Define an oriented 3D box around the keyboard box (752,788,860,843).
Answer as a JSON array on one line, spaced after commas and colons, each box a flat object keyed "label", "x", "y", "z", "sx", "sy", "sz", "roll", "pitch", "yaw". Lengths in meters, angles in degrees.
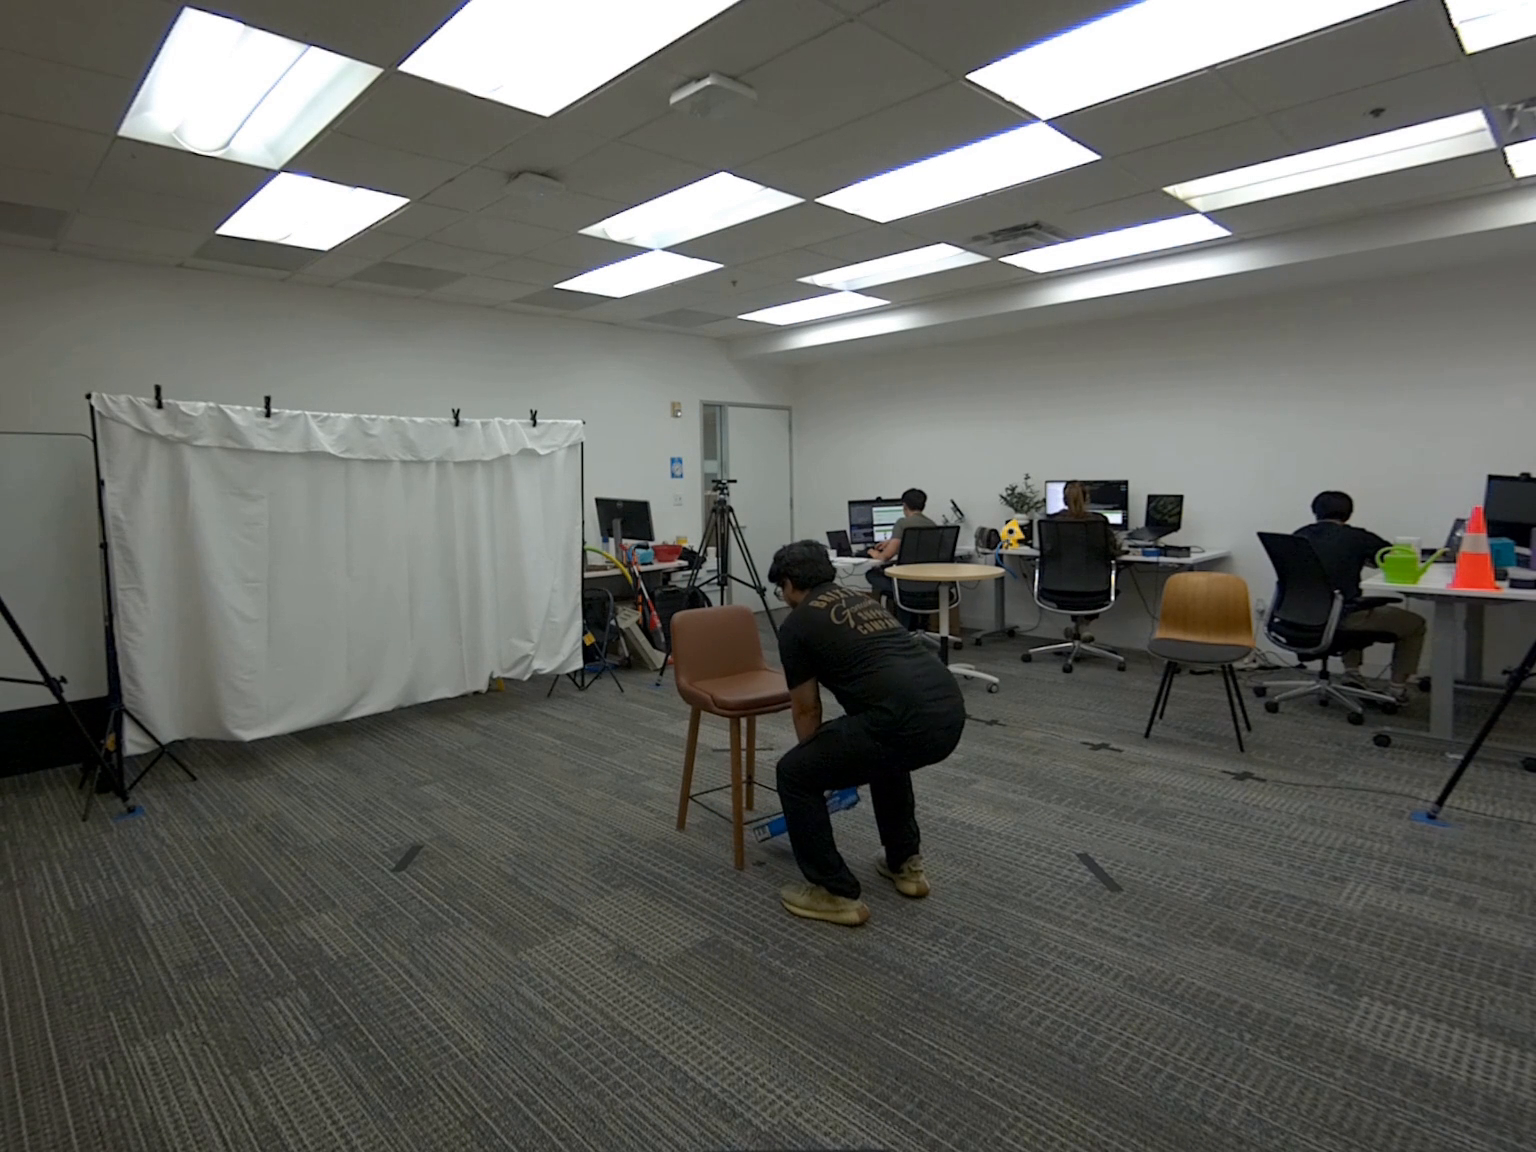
[{"label": "keyboard box", "x": 0.129, "y": 0.871, "z": 3.093, "sx": 0.172, "sy": 0.060, "sz": 0.437, "roll": -11, "pitch": -20, "yaw": -36}]
